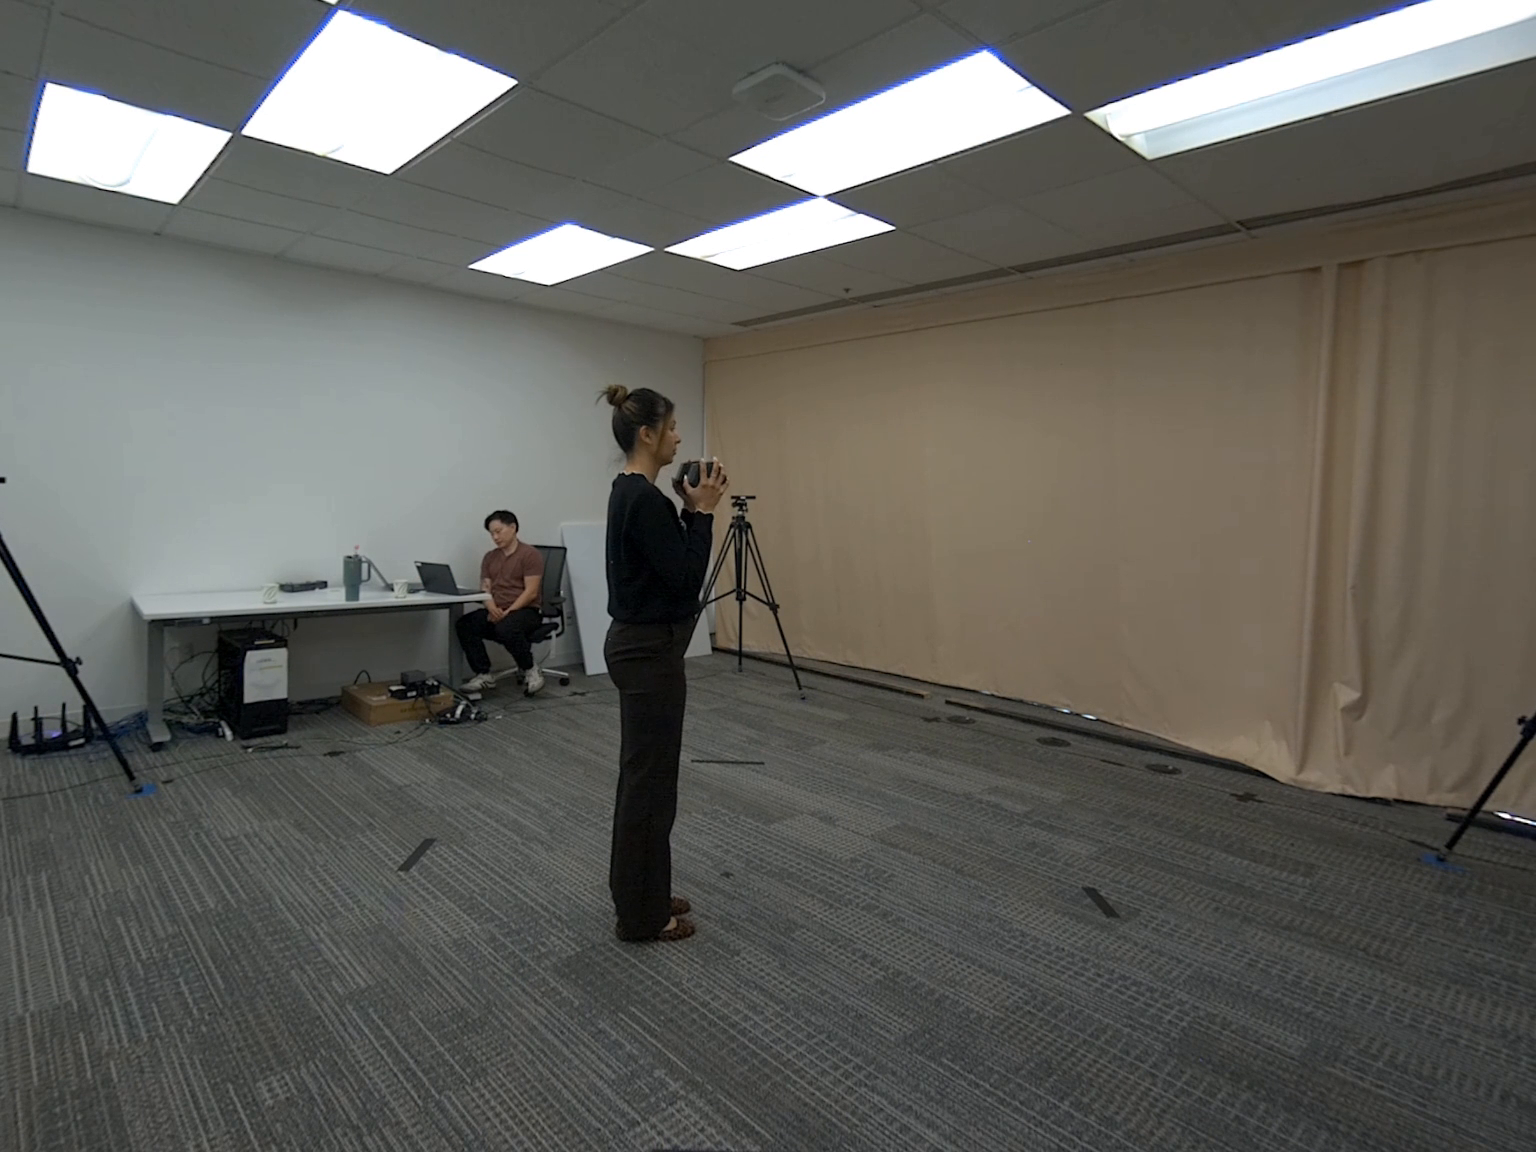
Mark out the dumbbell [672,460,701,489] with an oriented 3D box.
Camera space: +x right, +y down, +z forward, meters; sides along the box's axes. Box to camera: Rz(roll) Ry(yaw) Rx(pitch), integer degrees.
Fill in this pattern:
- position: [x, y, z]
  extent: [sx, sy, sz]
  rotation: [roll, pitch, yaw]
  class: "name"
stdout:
- position: [-0.241, -0.302, 2.667]
  extent: [0.107, 0.123, 0.298]
  rotation: [33, 0, -16]
  class: "dumbbell"
